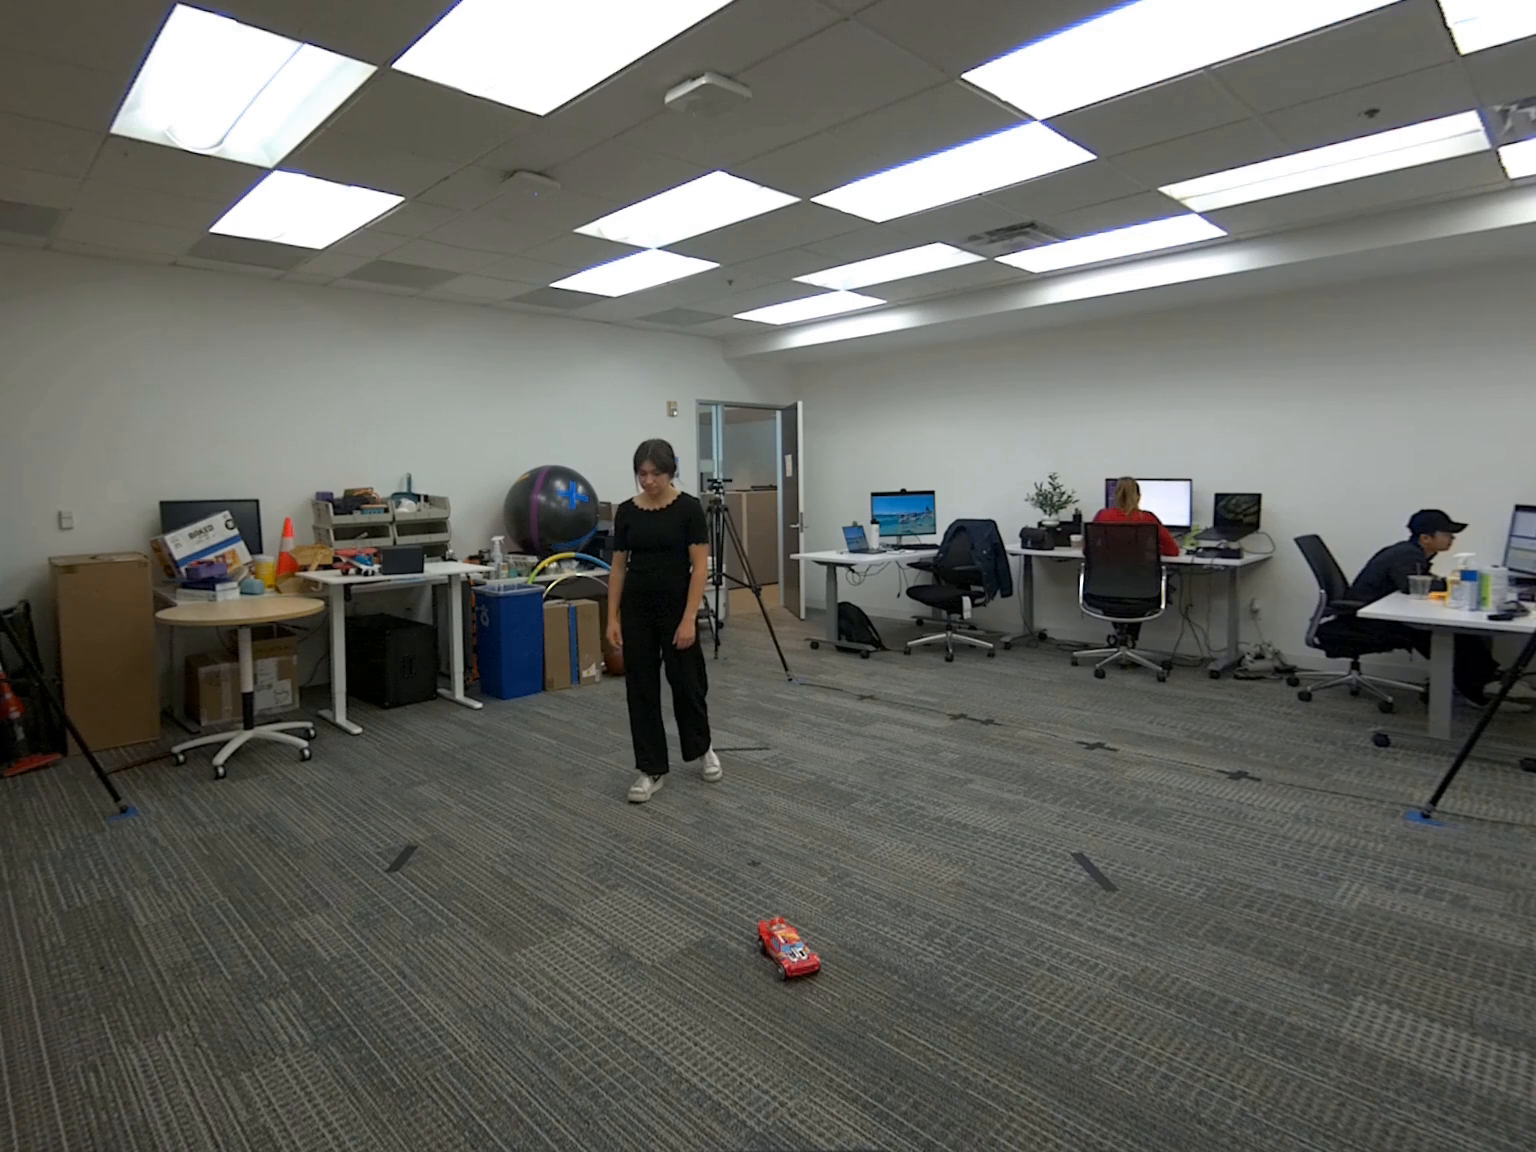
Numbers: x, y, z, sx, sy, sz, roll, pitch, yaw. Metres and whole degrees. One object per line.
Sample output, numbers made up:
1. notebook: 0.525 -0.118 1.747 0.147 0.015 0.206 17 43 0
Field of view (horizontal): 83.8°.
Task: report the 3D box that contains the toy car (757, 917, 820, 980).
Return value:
1. toy car: 0.055 1.086 2.484 0.128 0.082 0.262 -4 16 -21
